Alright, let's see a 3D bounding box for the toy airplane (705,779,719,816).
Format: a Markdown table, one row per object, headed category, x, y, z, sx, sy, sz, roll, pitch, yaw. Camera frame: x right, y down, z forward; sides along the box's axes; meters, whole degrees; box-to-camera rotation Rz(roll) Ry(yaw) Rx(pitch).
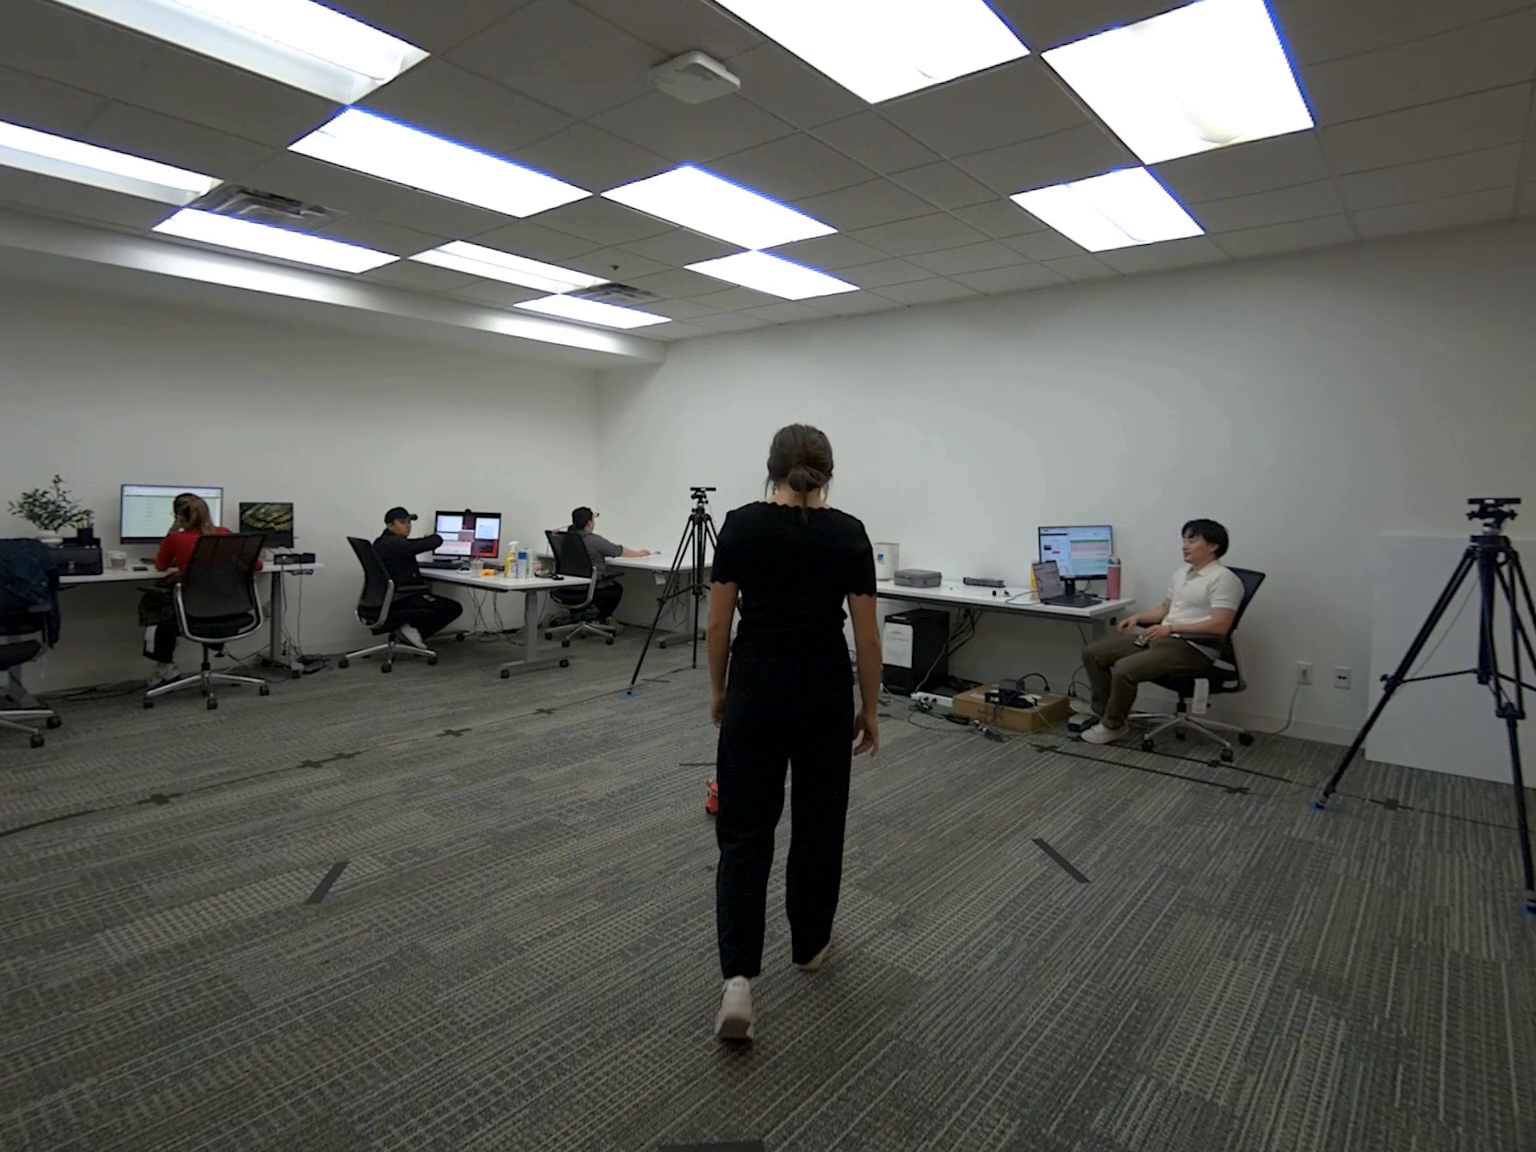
| category | x | y | z | sx | sy | sz | roll | pitch | yaw |
| --- | --- | --- | --- | --- | --- | --- | --- | --- | --- |
| toy airplane | -0.146 | 0.939 | 3.653 | 0.258 | 0.156 | 0.253 | -1 | 5 | -4 |
